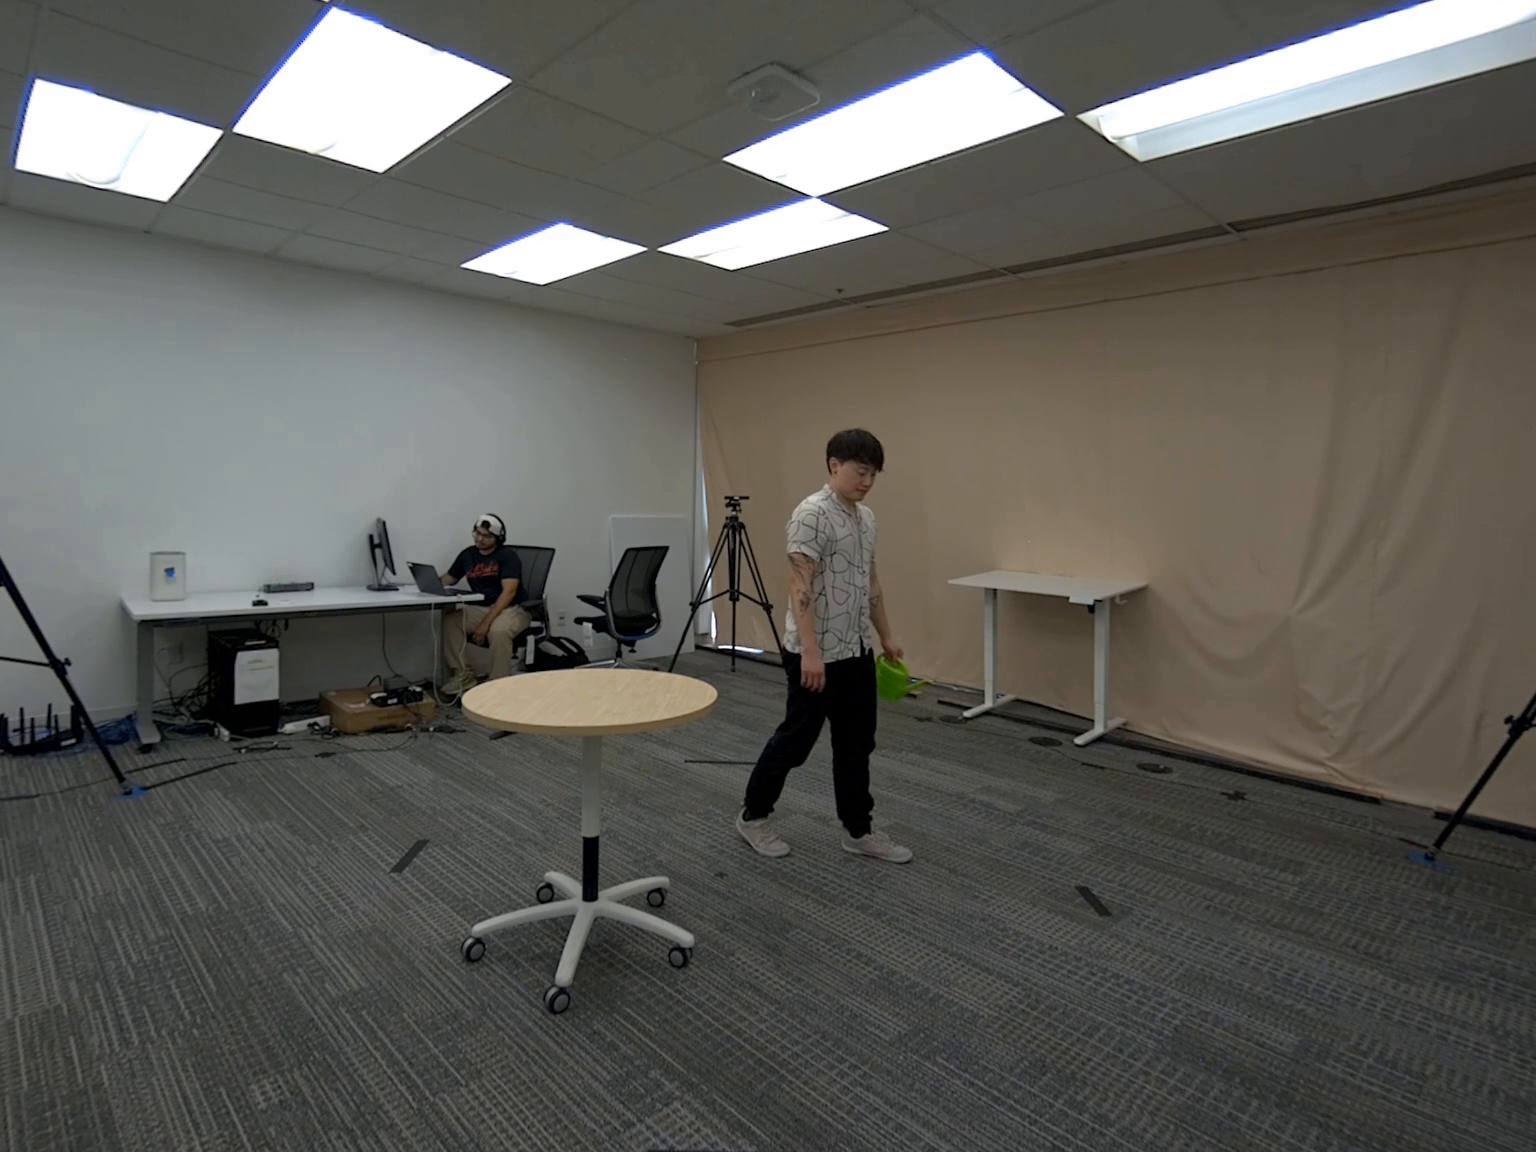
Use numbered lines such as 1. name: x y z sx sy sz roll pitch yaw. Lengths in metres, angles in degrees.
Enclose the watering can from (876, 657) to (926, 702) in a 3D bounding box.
1. watering can: 0.519 0.432 3.415 0.096 0.175 0.287 0 26 -33
